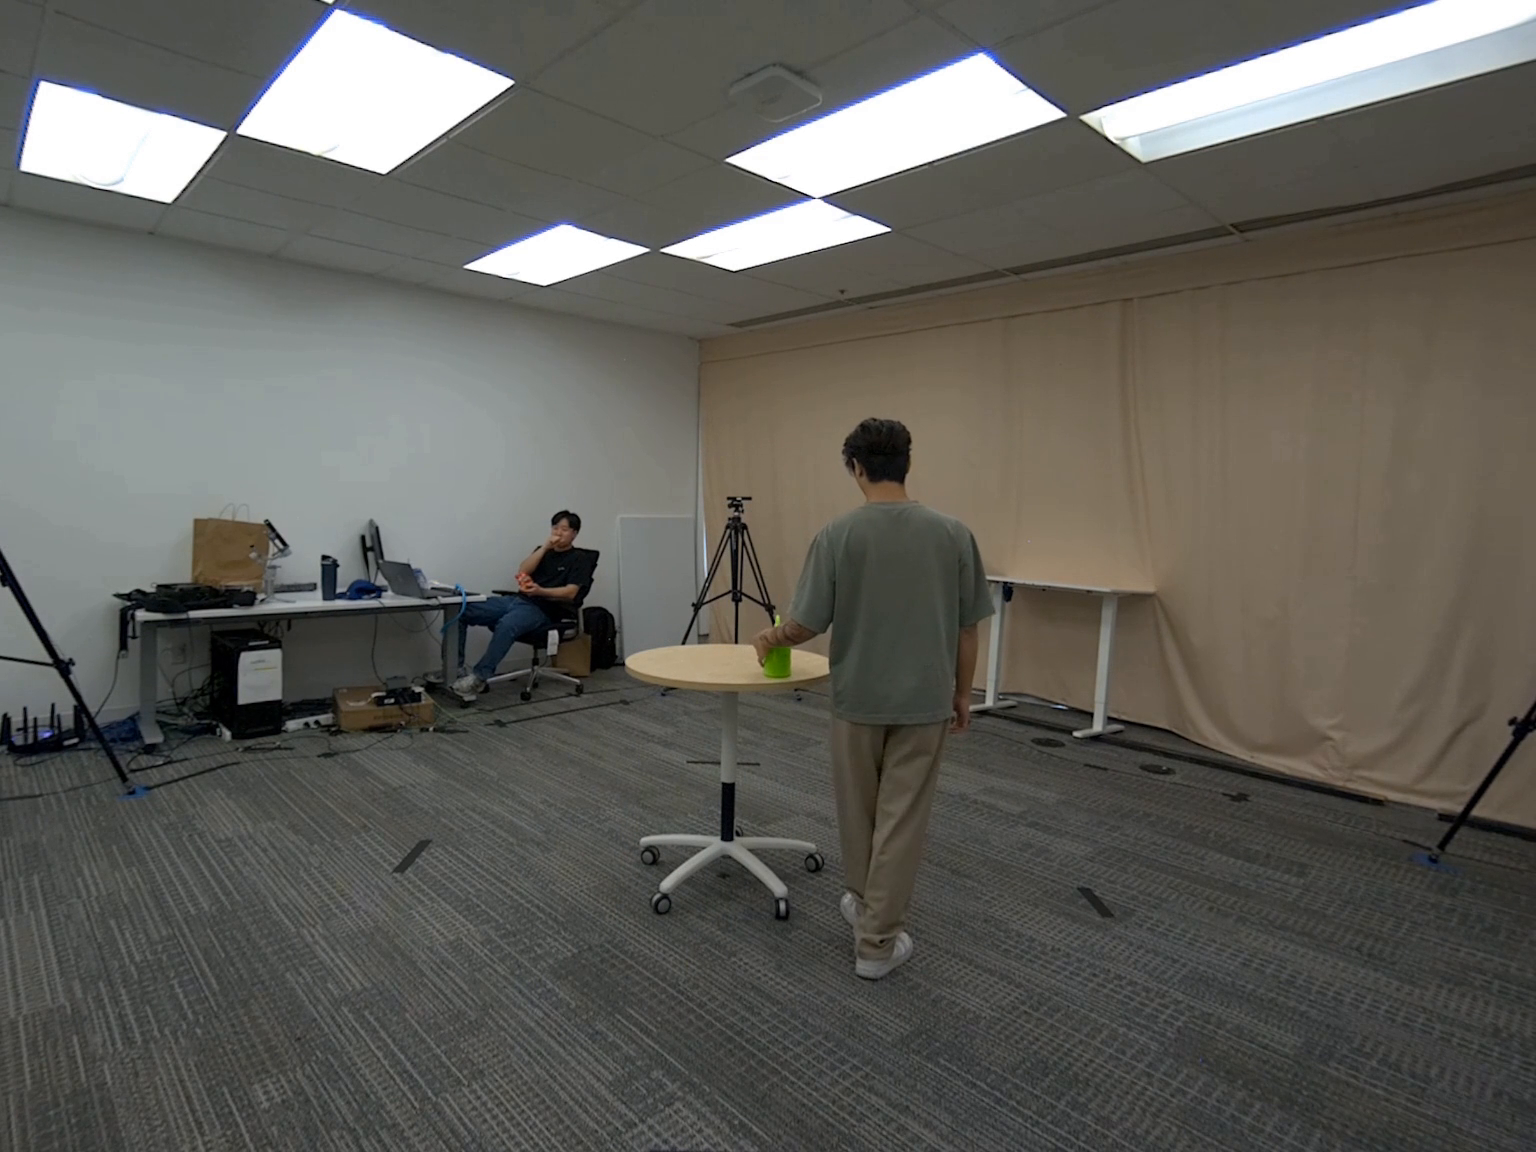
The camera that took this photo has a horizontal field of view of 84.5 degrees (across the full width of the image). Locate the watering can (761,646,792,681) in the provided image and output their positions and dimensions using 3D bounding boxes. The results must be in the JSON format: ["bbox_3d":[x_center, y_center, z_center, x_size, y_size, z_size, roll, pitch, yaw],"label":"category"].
[{"bbox_3d":[0.051,0.248,2.874,0.100,0.176,0.273,6,6,29],"label":"watering can"}]
